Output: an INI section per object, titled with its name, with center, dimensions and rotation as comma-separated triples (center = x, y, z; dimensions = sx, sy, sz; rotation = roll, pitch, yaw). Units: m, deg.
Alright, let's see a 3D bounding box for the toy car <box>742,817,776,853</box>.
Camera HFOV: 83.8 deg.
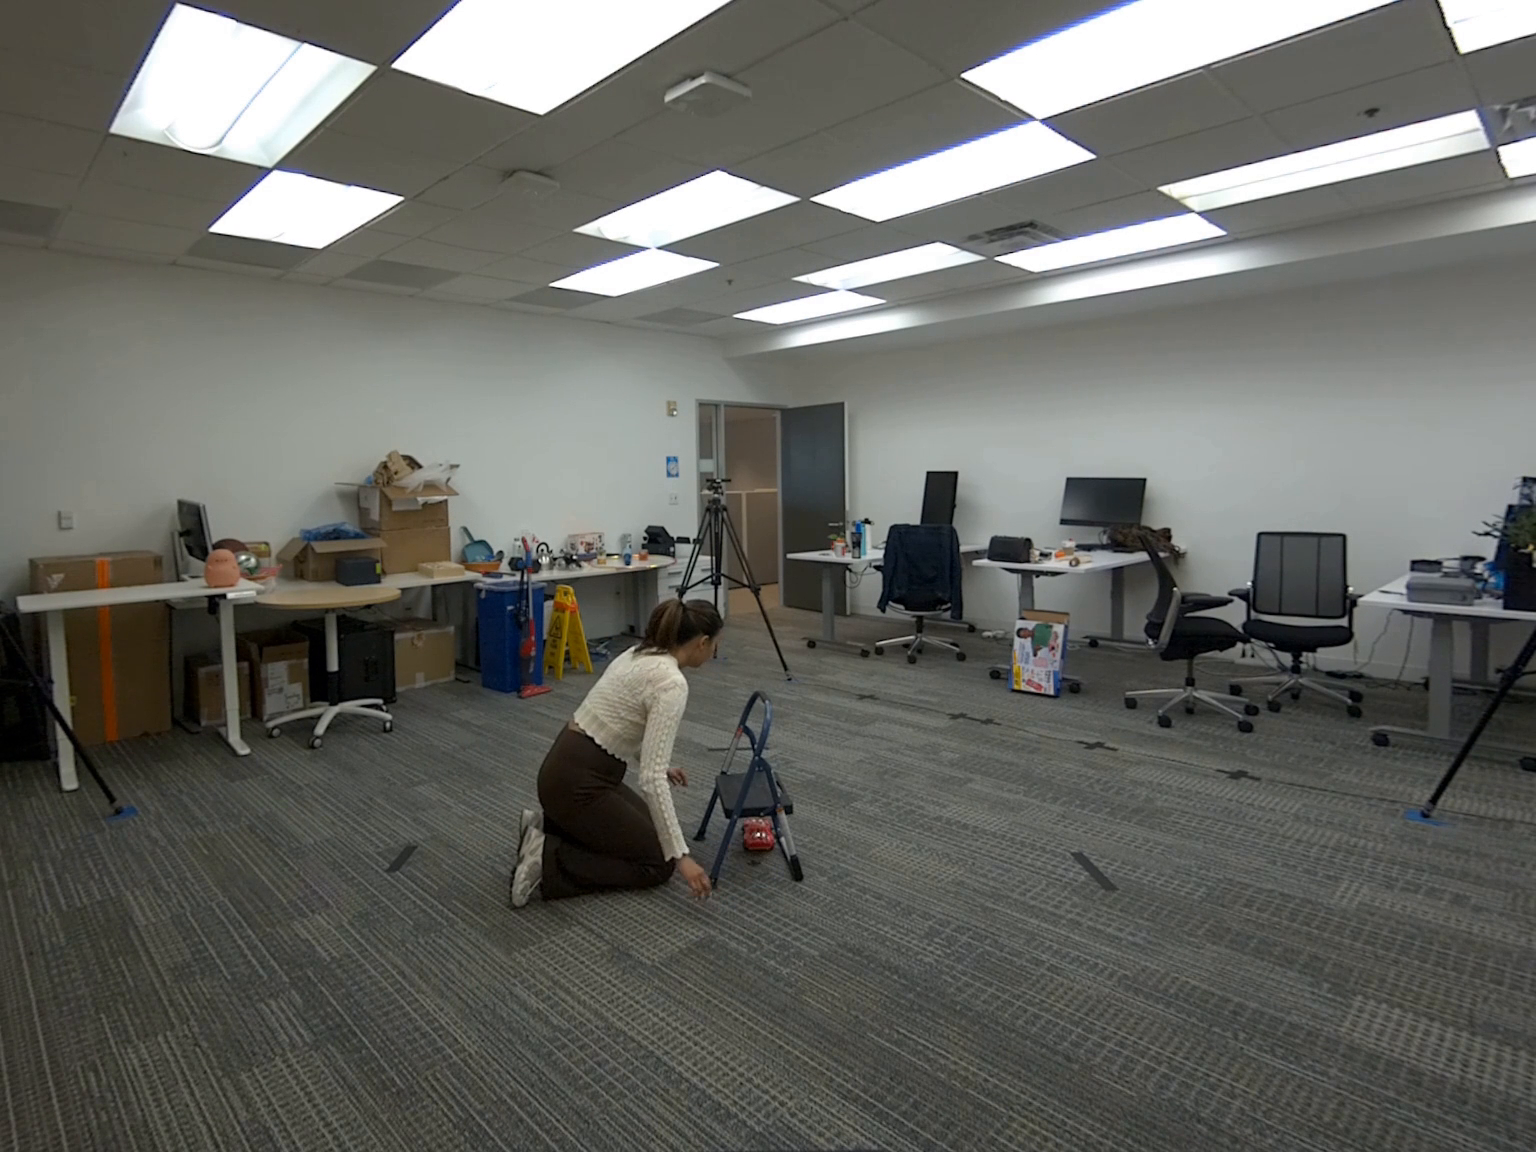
[toy car]
center = -0.034, 0.997, 3.258
dimensions = 0.130, 0.084, 0.253
rotation = -1, -5, -1
